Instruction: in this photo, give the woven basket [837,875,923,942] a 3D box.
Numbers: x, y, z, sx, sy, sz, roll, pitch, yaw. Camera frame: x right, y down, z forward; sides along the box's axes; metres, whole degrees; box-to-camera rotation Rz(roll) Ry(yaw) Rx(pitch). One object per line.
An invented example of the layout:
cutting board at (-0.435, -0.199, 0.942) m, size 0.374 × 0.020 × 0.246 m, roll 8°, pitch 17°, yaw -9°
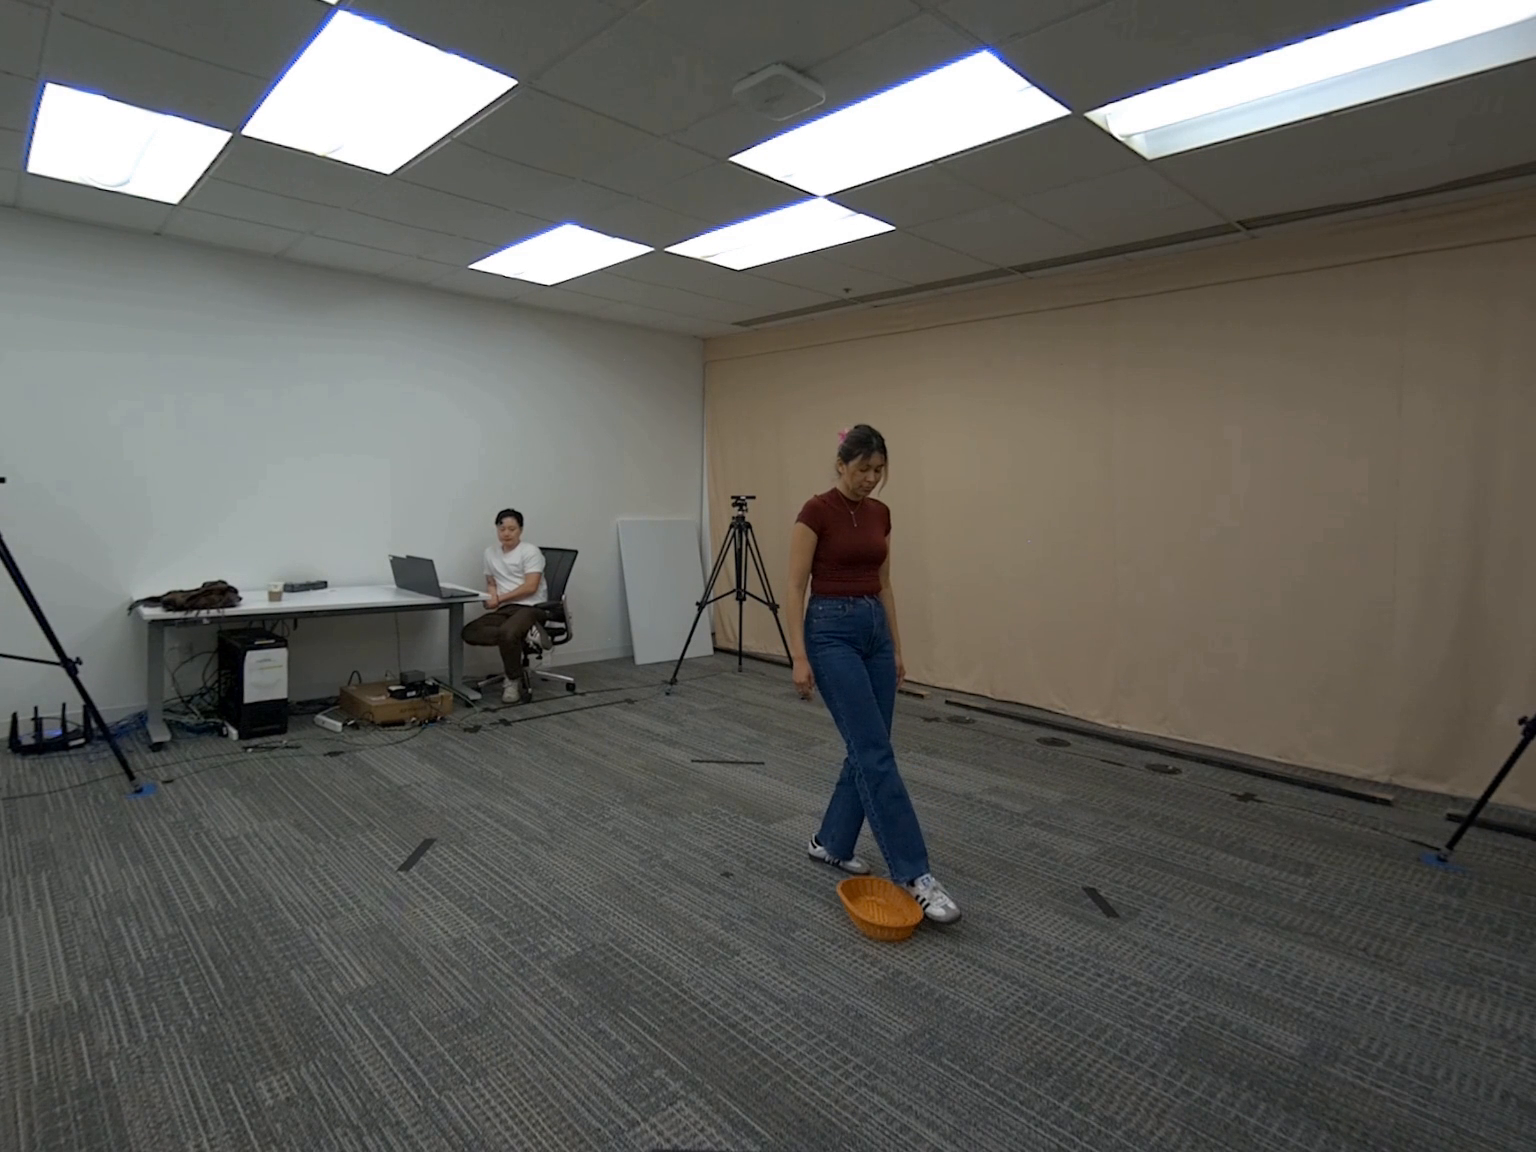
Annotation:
woven basket at (0.359, 1.101, 2.794) m, size 0.250 × 0.073 × 0.354 m, roll 3°, pitch 5°, yaw -11°
